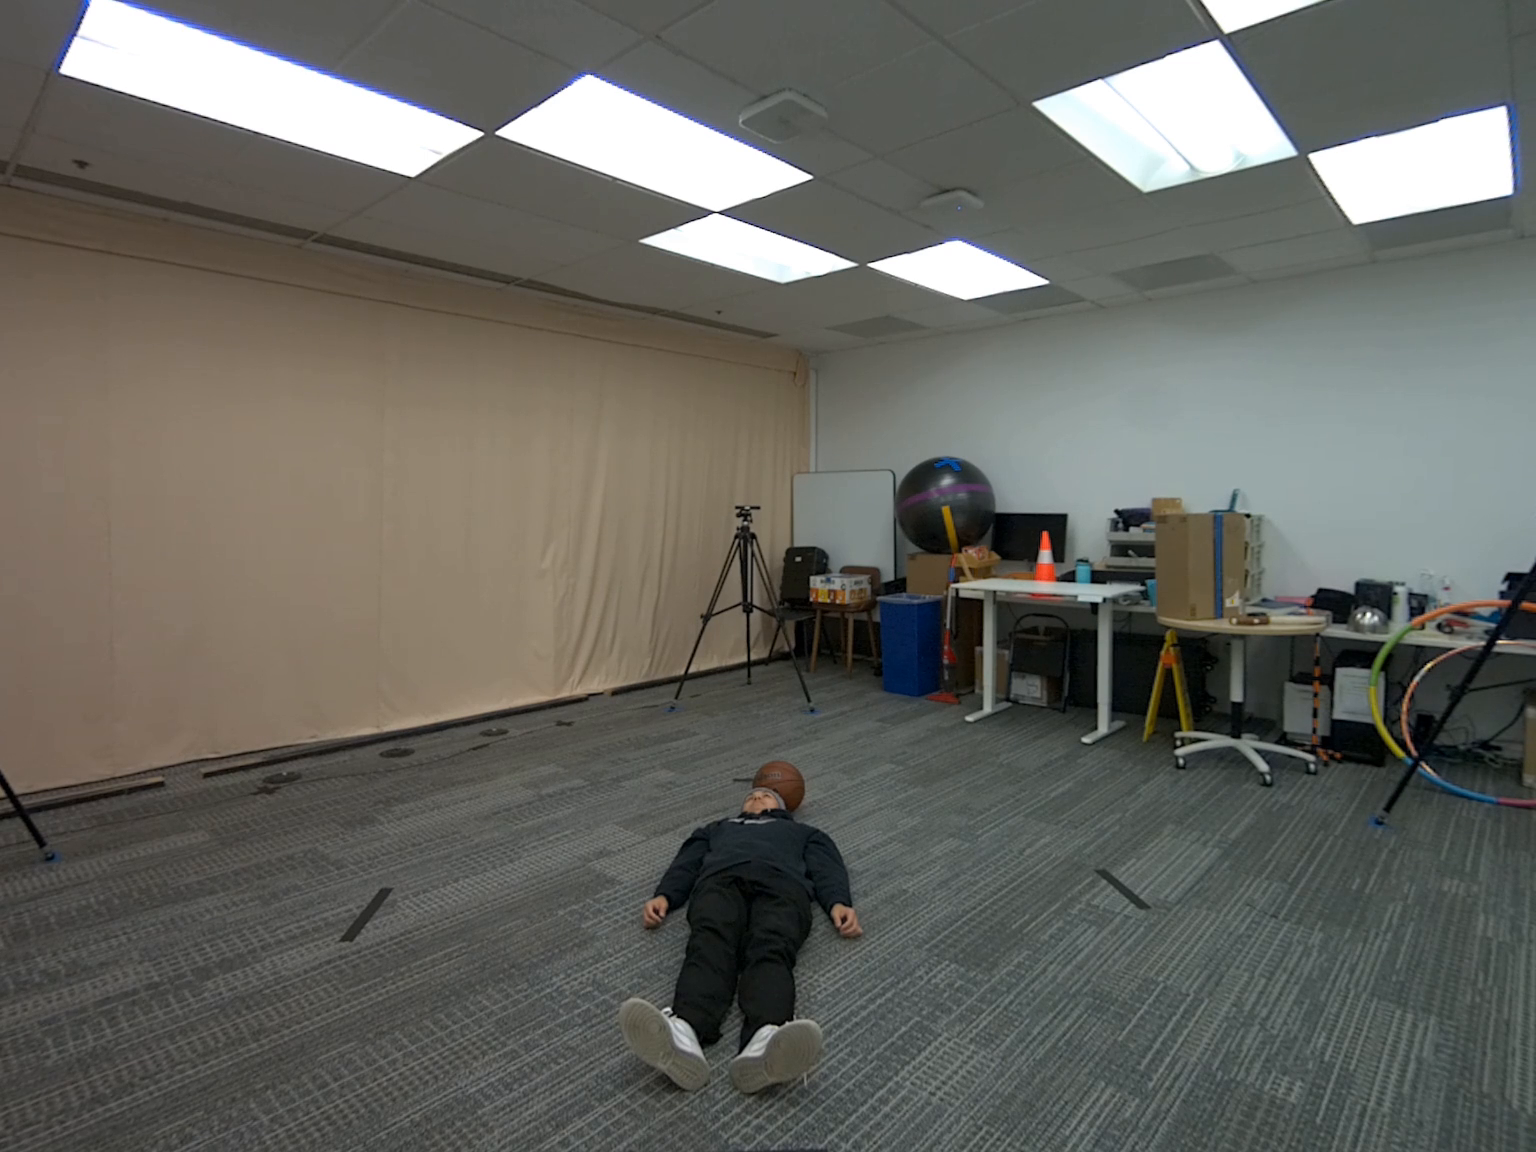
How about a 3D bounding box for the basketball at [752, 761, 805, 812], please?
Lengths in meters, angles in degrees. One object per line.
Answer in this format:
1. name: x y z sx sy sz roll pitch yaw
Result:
1. basketball: 0.048 0.955 3.802 0.236 0.235 0.237 0 4 -2
